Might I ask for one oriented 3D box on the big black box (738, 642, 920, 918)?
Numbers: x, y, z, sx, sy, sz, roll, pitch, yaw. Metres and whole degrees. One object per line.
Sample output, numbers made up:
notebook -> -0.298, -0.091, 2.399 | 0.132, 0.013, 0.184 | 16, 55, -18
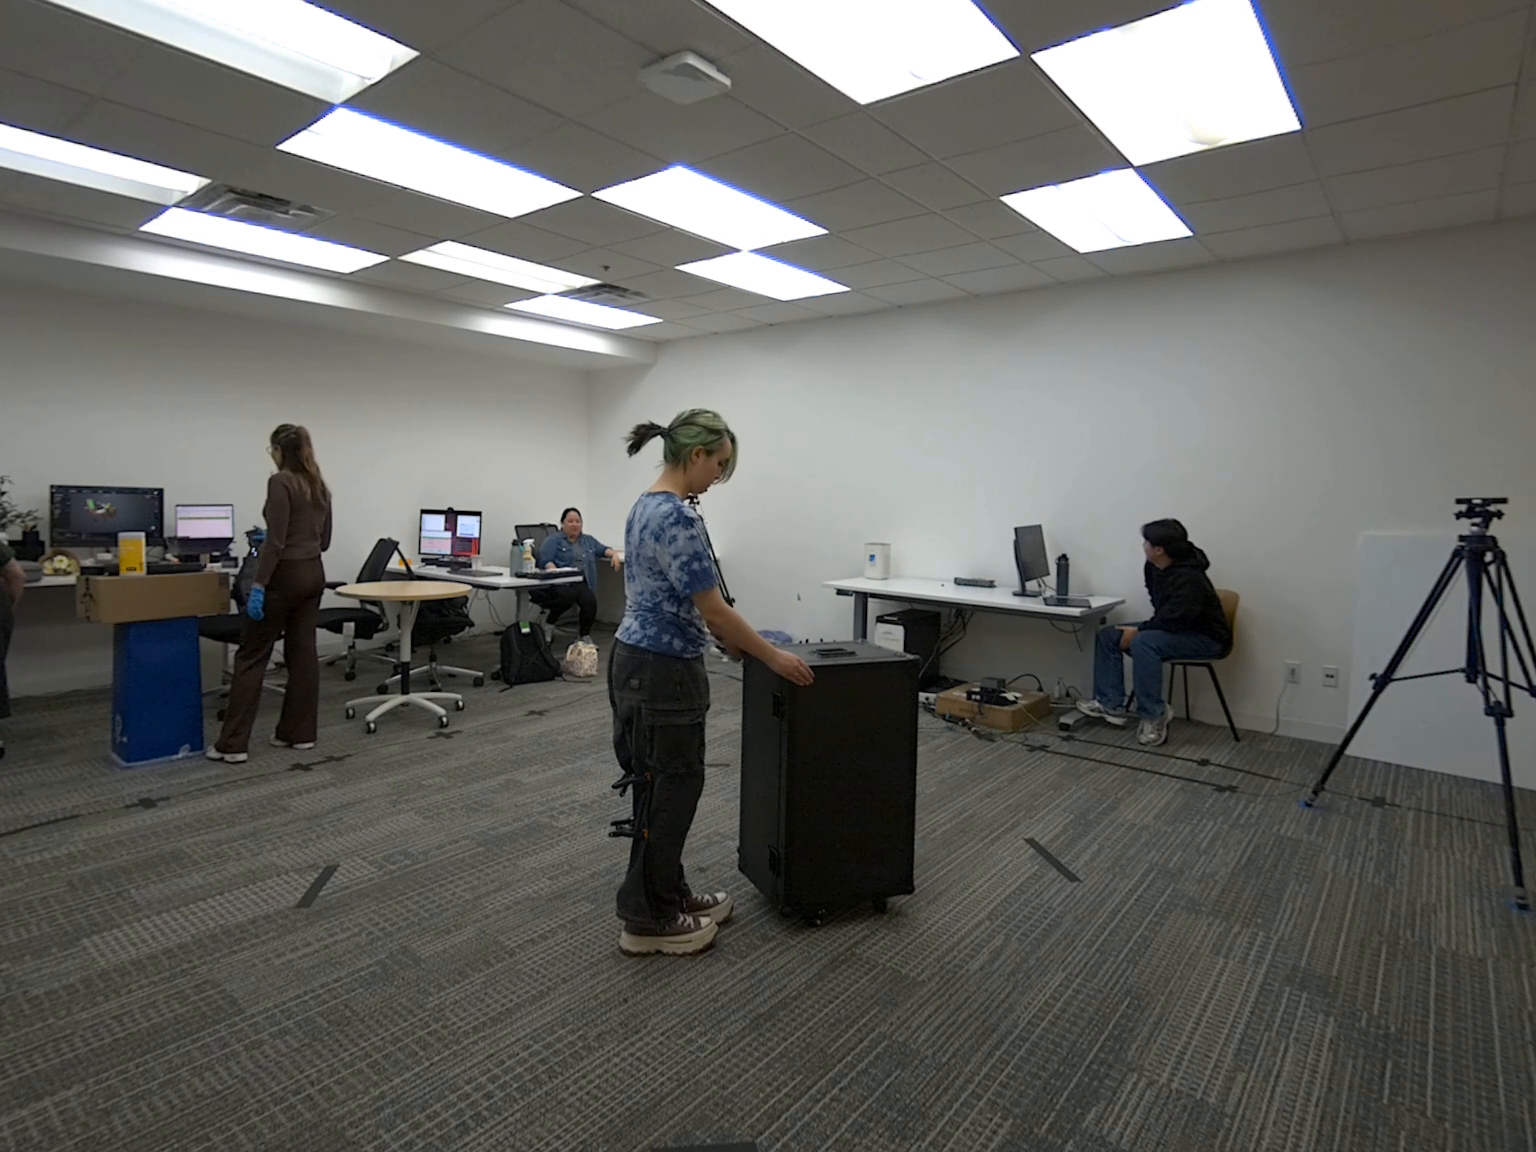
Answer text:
big black box -> 0.182, 0.678, 2.873 | 0.509, 0.859, 0.406 | 0, 3, -24
